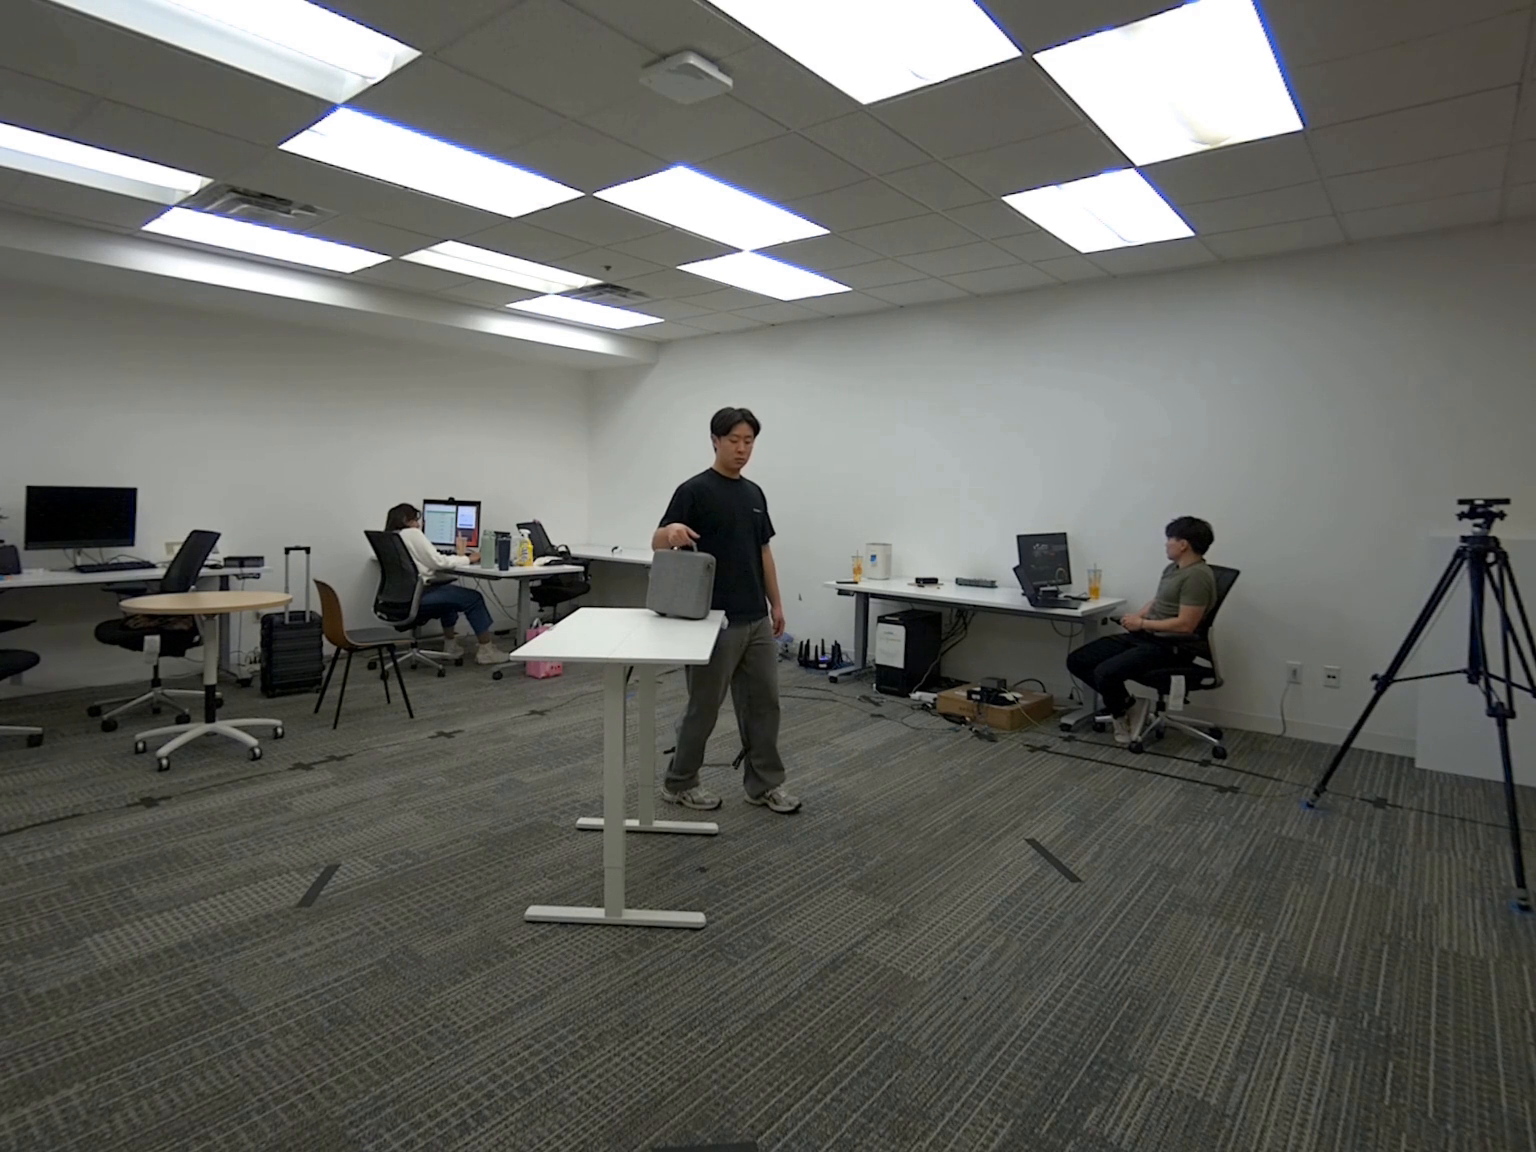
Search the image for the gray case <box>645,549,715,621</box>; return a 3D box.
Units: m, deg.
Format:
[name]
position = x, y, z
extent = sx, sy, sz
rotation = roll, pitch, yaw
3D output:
[gray case]
position = -0.351, 0.013, 3.329
extent = 0.271, 0.287, 0.100
rotation = 6, -1, 32
